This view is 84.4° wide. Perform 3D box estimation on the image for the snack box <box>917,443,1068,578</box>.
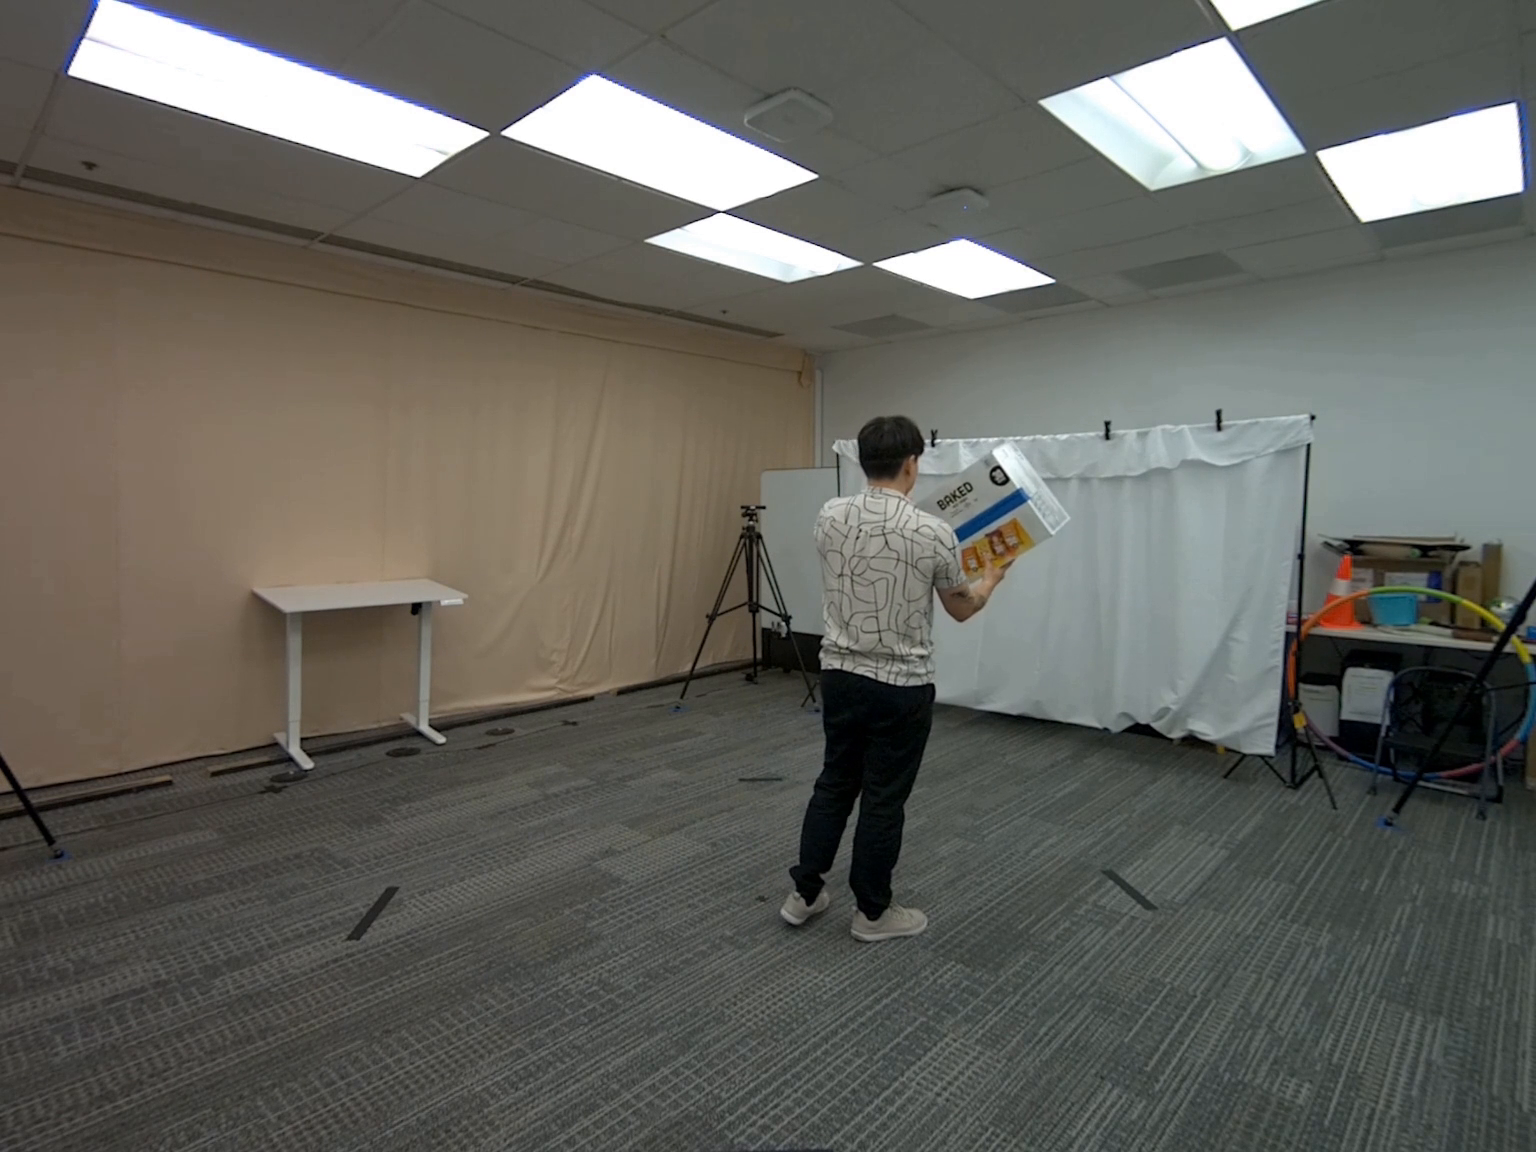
[{"bbox_3d":[0.759,-0.209,2.942,0.410,0.342,0.202,-38,-6,40],"label":"snack box"}]
